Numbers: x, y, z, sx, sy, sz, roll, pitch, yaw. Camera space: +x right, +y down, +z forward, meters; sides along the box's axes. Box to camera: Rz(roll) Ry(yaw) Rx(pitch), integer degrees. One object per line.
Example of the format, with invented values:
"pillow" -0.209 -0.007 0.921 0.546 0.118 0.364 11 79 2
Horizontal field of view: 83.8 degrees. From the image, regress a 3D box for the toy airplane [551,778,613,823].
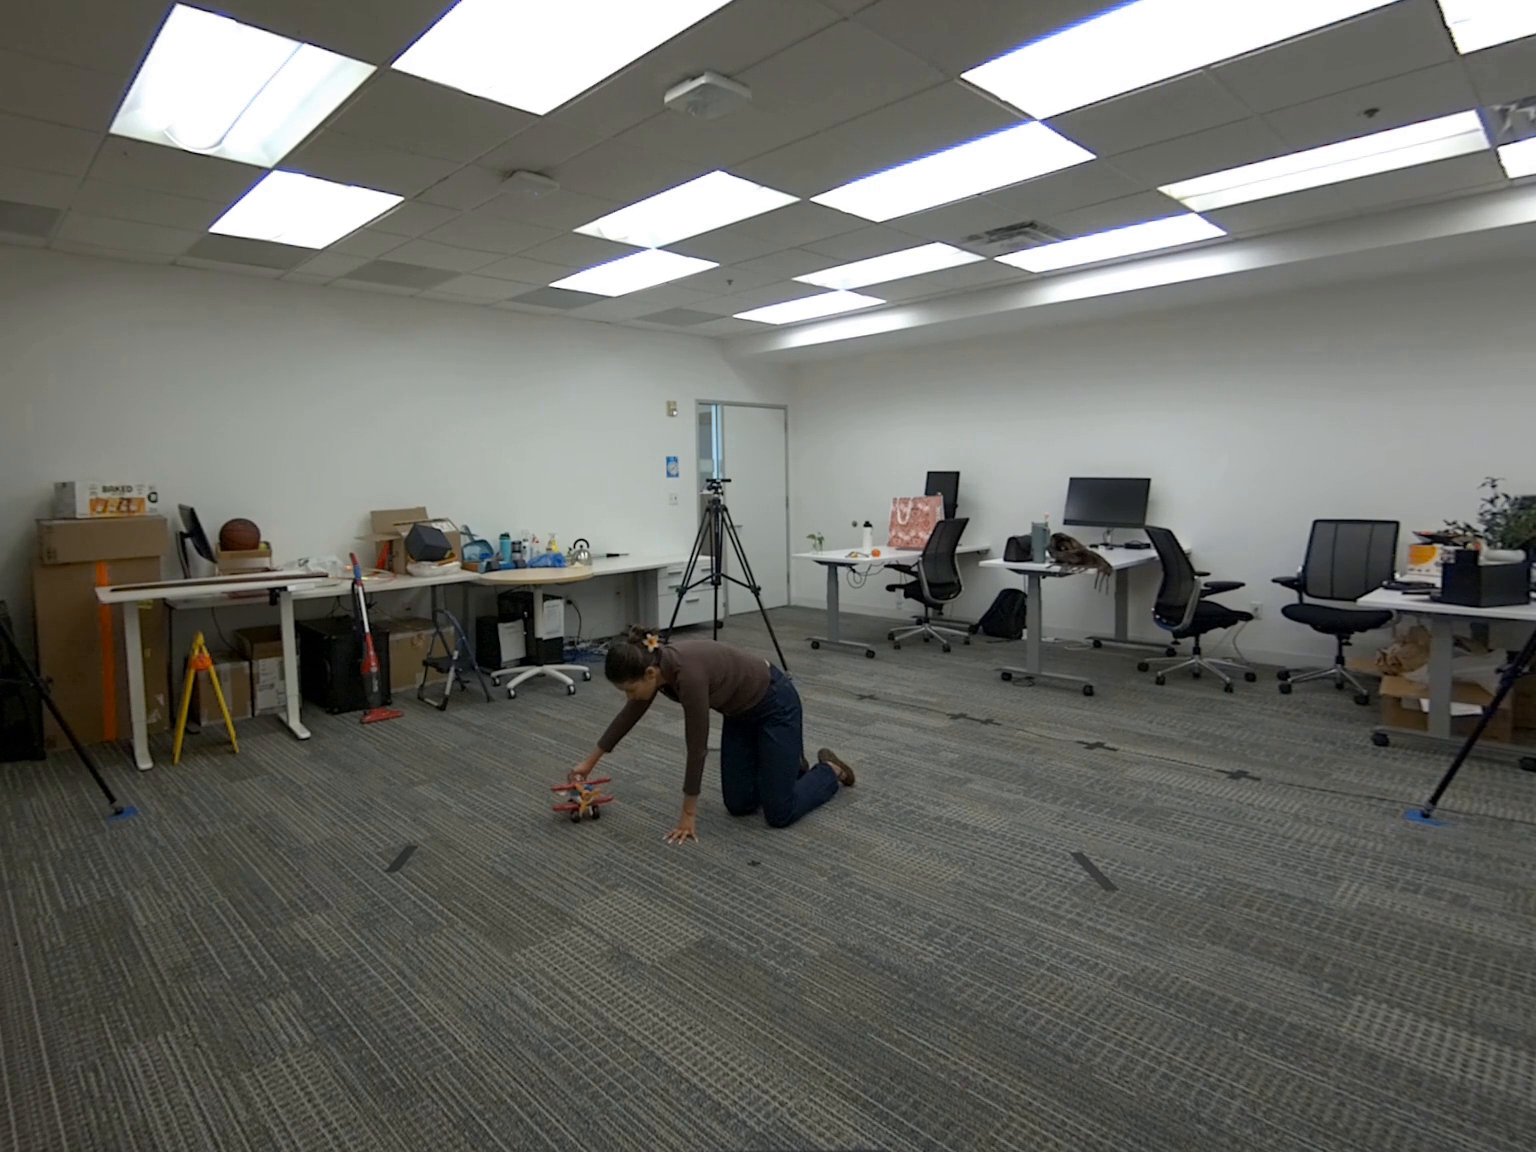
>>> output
"toy airplane" -0.797 0.927 3.595 0.267 0.156 0.245 2 7 38
